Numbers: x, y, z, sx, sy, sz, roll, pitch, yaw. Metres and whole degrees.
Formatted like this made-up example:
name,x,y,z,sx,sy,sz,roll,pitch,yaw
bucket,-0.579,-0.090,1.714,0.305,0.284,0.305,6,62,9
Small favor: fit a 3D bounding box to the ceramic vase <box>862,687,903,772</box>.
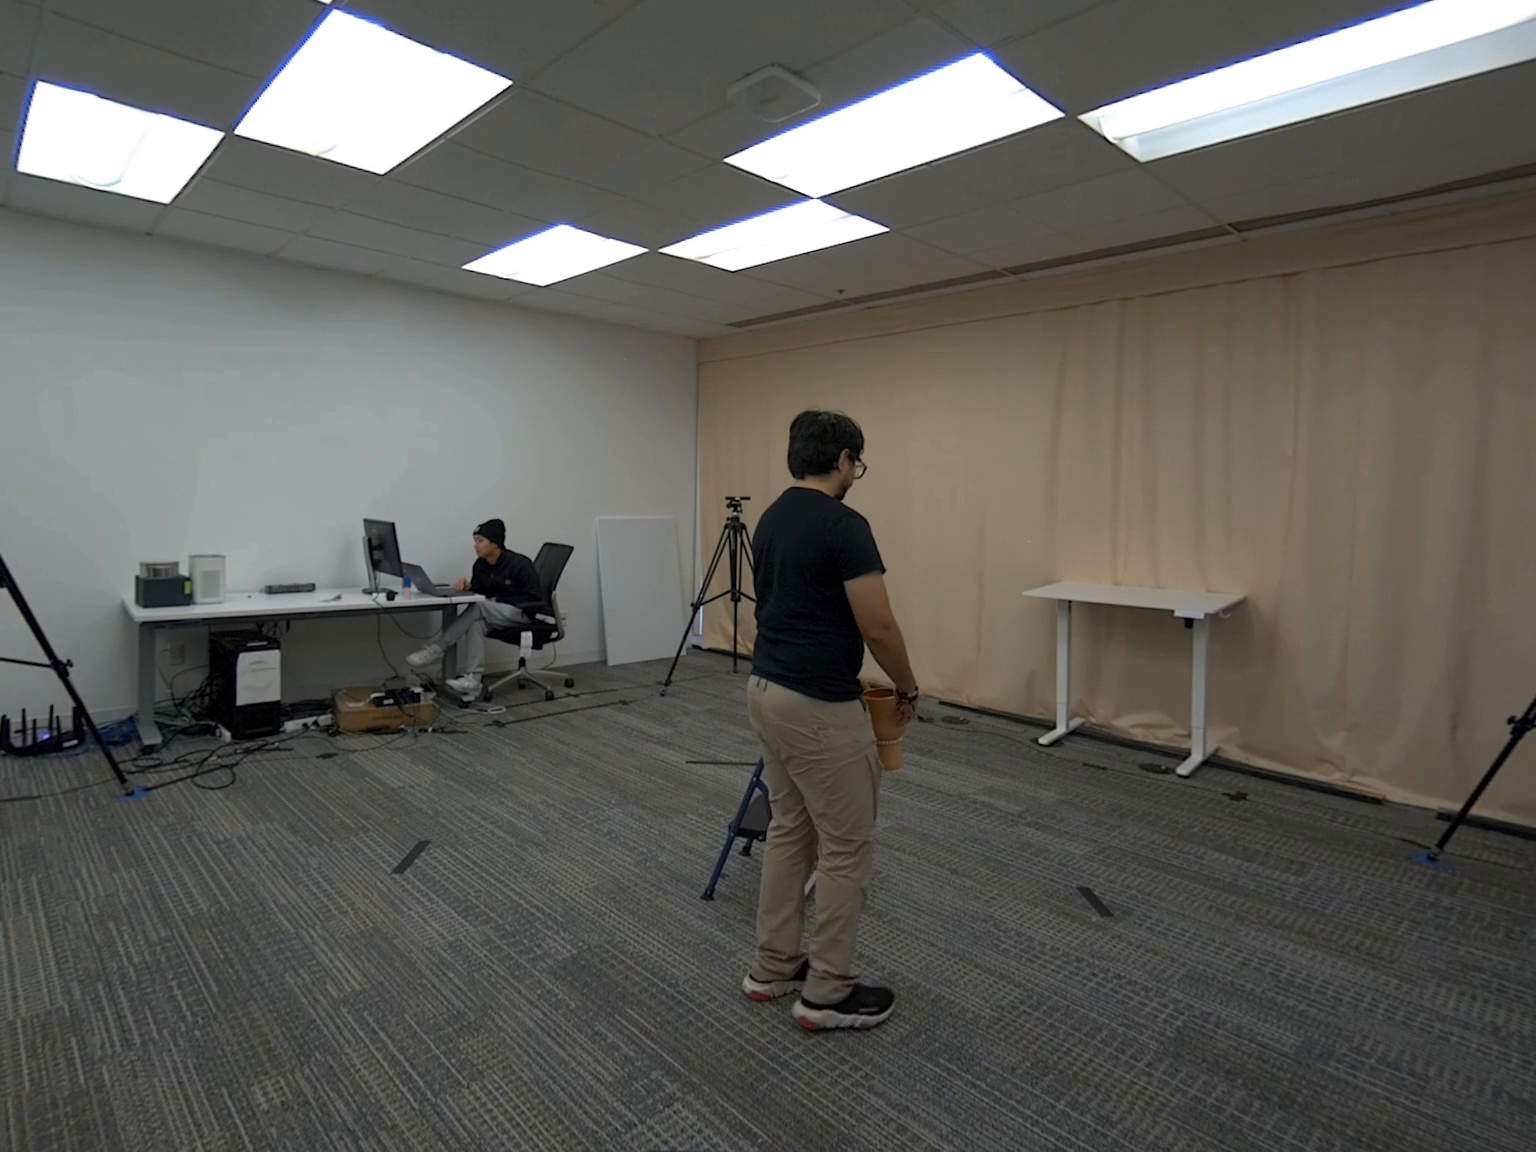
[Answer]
name,x,y,z,sx,sy,sz,roll,pitch,yaw
ceramic vase,0.340,0.459,2.489,0.136,0.219,0.158,-3,6,13
